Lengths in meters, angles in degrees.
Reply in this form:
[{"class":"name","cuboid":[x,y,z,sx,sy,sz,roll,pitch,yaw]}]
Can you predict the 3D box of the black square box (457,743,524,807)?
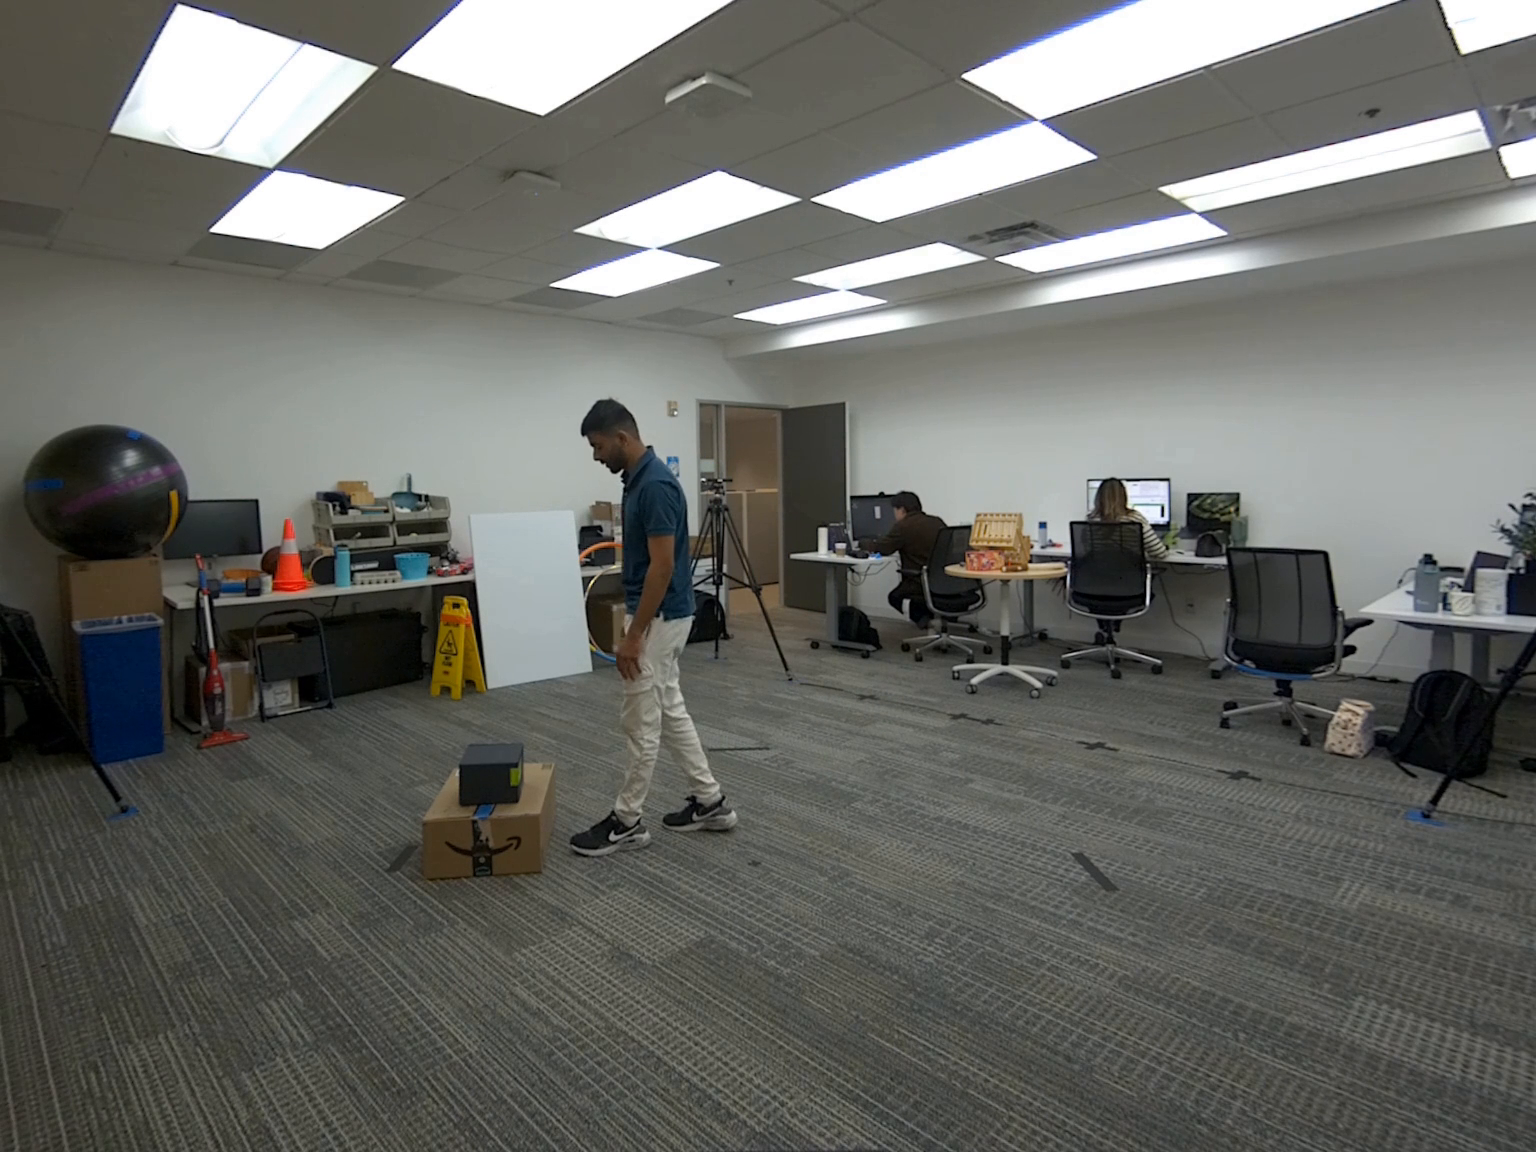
[{"class":"black square box","cuboid":[-1.045,0.747,3.256,0.215,0.155,0.231,-1,6,-10]}]
